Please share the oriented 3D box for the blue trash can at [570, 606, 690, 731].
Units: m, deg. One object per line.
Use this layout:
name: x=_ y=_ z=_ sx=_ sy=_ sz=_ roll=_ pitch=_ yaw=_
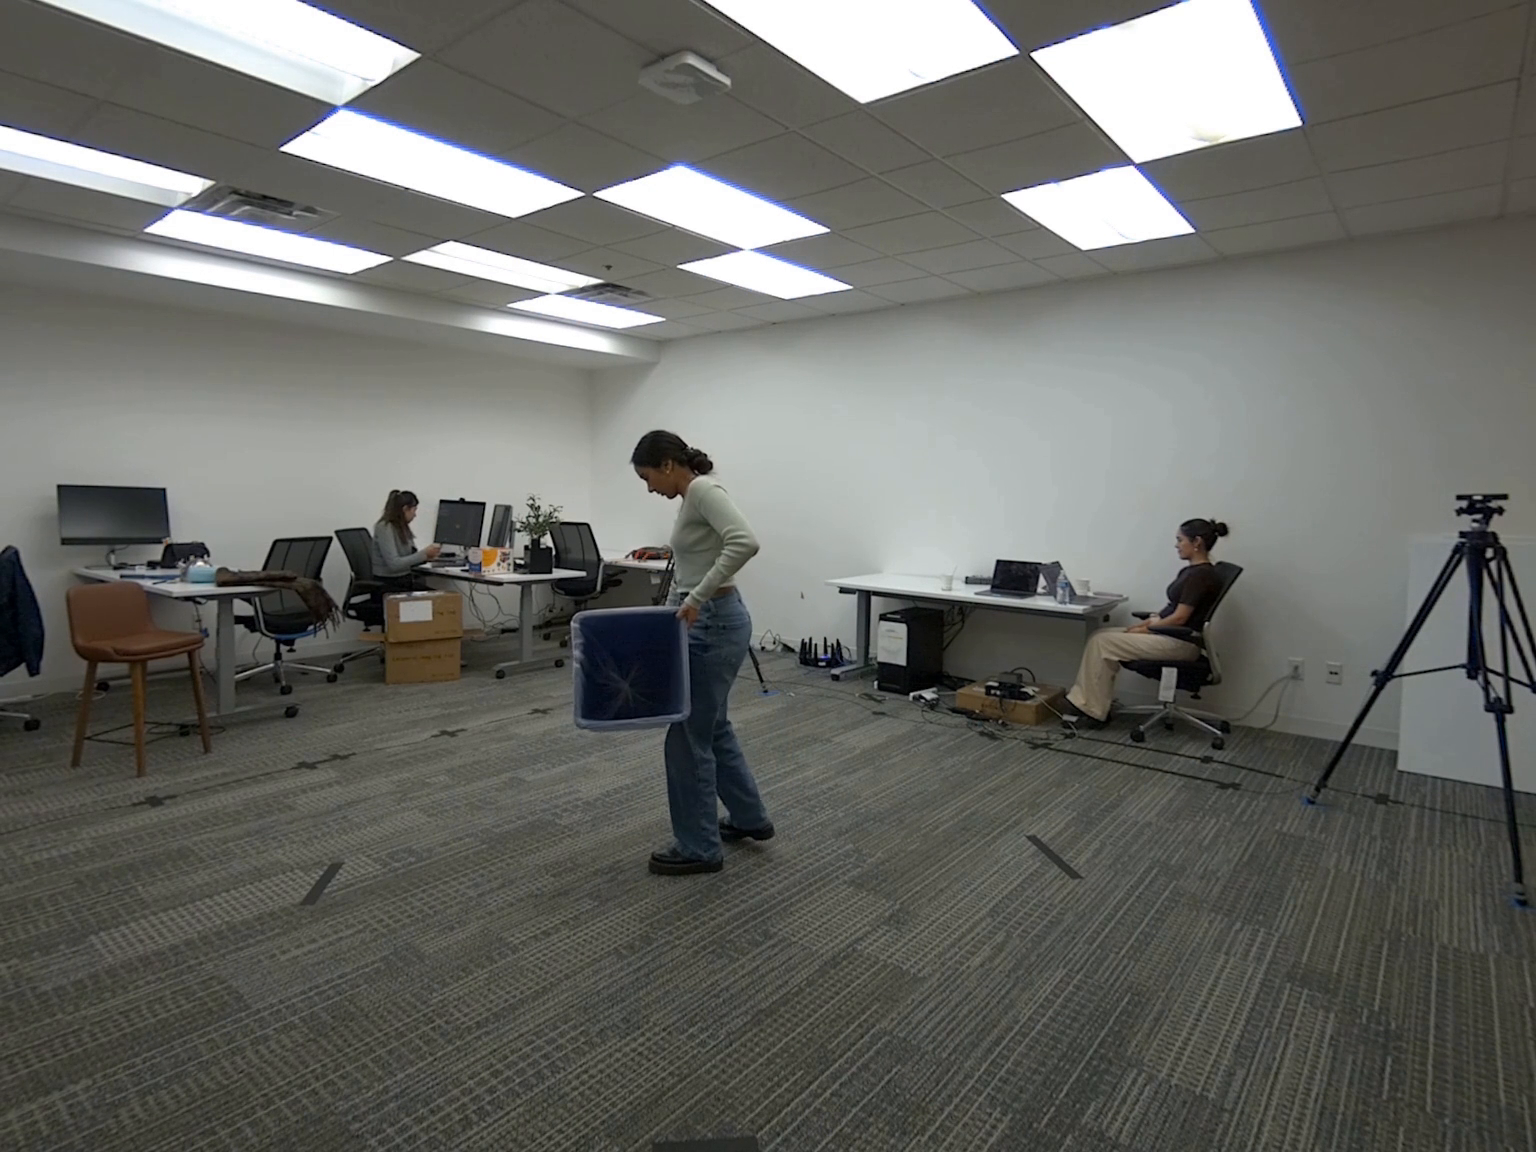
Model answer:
blue trash can: x=-0.501 y=0.352 z=3.045 sx=0.371 sy=0.383 sz=0.709 roll=-1 pitch=-12 yaw=-8
